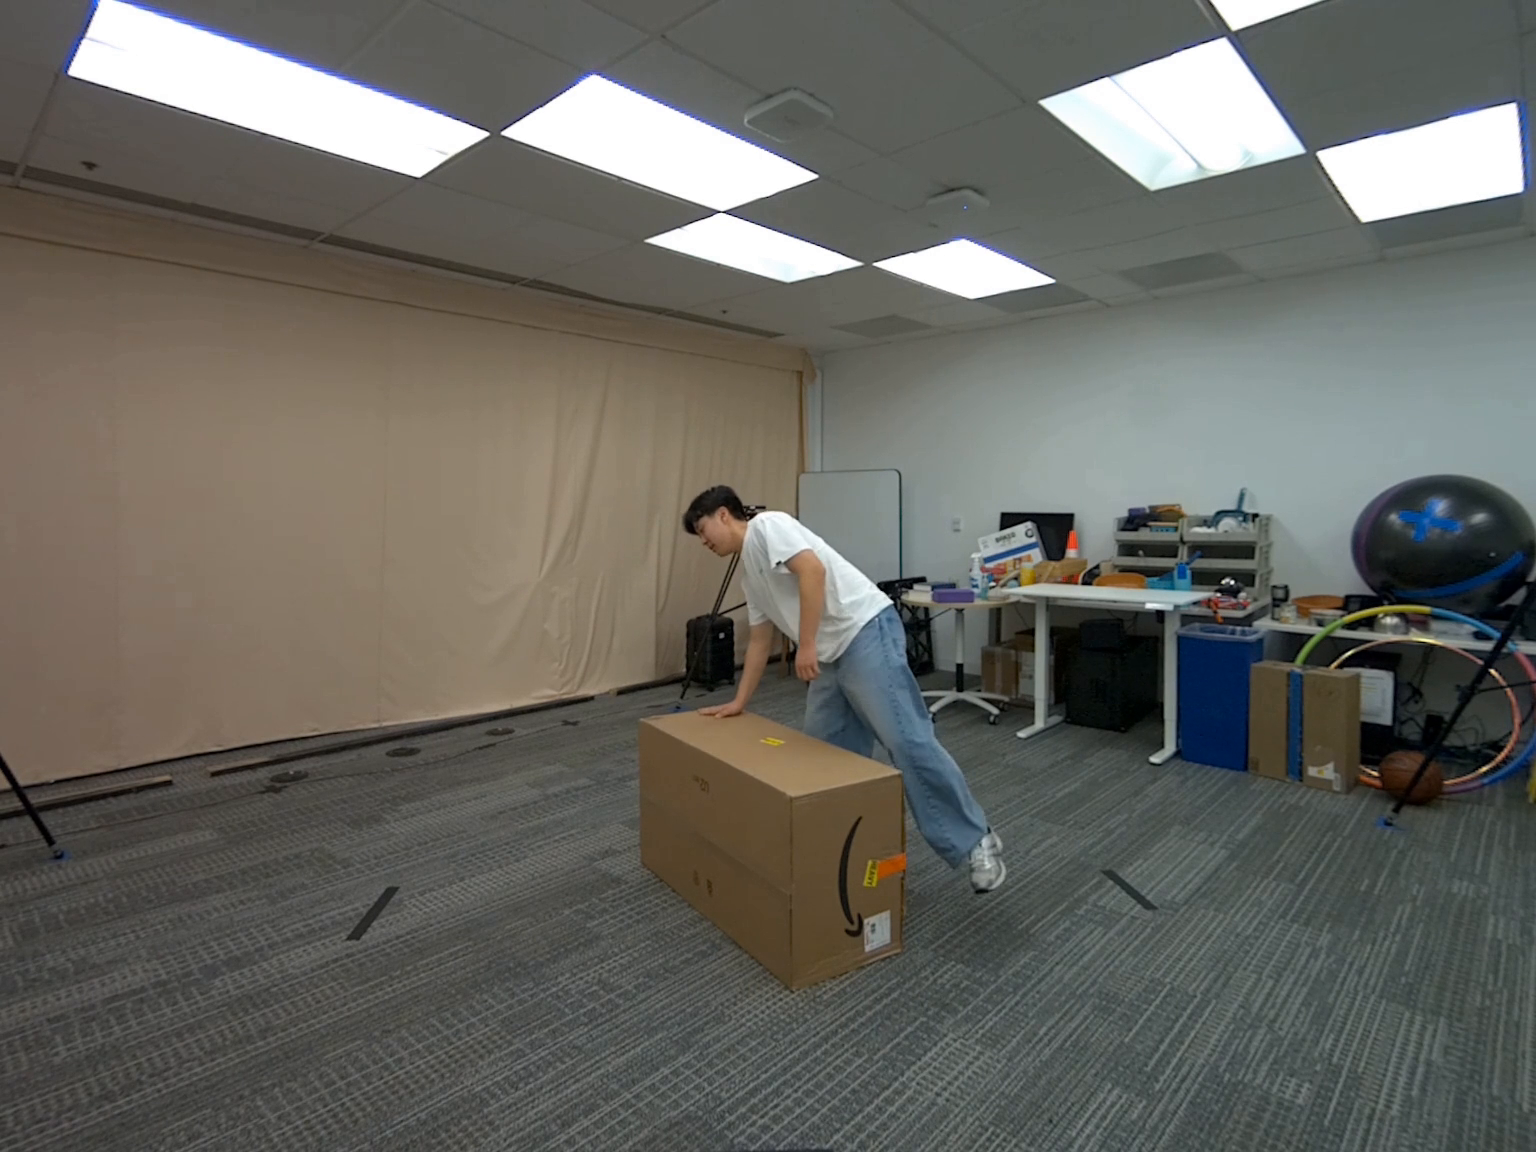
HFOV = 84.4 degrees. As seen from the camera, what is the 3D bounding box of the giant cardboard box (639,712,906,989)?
[{"bbox_3d":[-0.043,0.862,2.937,0.415,0.576,1.056,-3,5,-32],"label":"giant cardboard box"}]
